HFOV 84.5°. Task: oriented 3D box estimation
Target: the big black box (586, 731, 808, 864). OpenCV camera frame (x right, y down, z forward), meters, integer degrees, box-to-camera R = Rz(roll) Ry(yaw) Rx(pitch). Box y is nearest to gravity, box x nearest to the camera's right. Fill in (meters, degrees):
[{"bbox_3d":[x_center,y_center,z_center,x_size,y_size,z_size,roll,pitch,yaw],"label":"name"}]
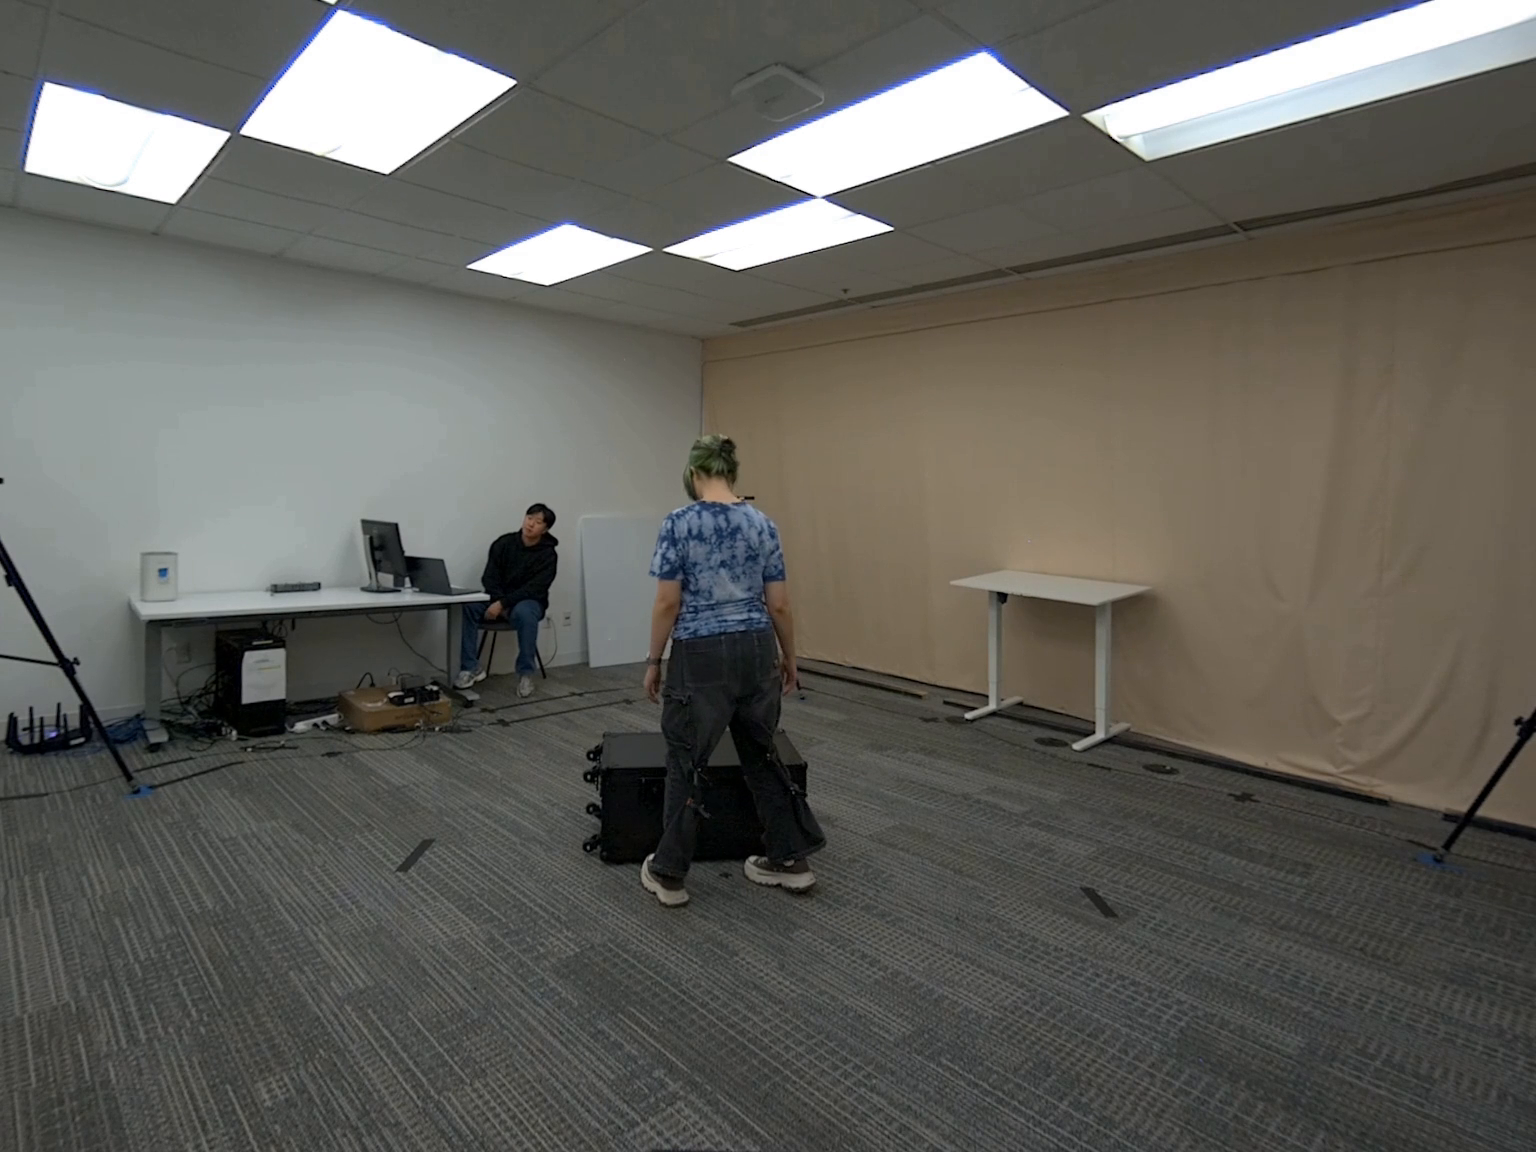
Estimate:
[{"bbox_3d":[-0.255,0.877,3.424,0.856,0.395,0.526,0,6,-8],"label":"big black box"}]
